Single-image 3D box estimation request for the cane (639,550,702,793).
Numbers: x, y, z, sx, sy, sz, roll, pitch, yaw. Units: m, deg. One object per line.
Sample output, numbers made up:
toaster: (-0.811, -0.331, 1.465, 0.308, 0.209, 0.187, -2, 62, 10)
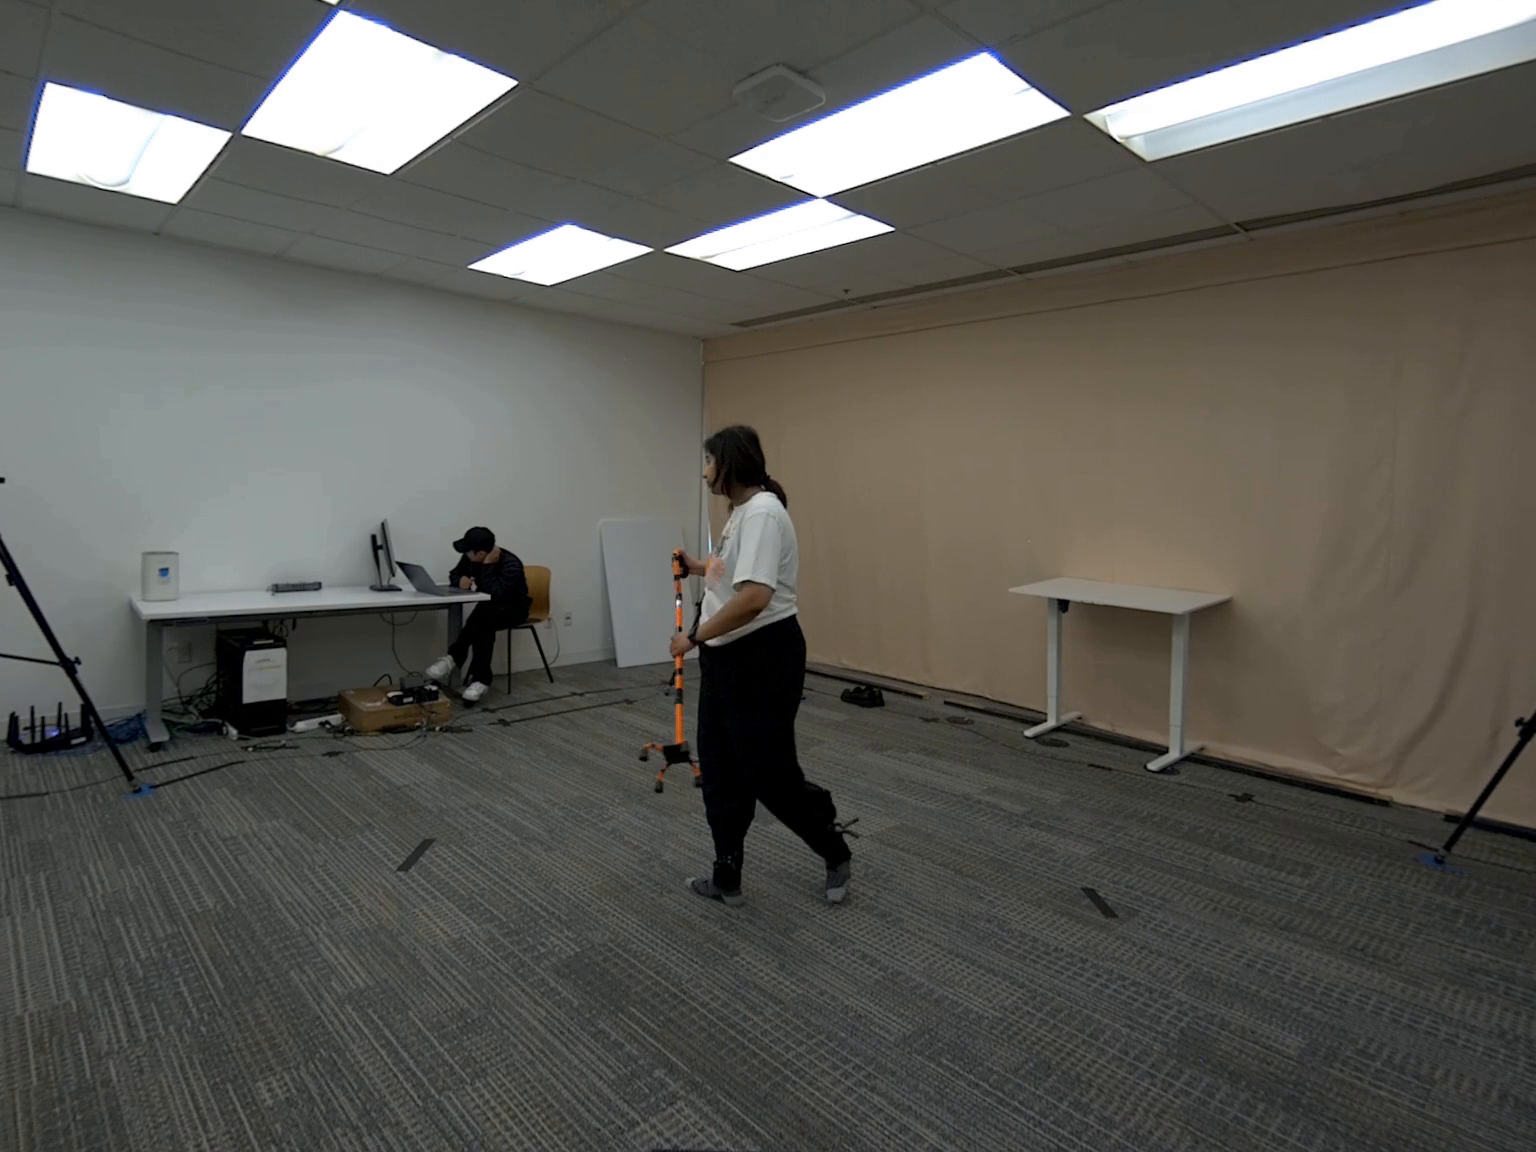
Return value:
cane: (-0.310, 0.258, 2.782, 0.152, 0.200, 0.931, -14, 44, 6)
